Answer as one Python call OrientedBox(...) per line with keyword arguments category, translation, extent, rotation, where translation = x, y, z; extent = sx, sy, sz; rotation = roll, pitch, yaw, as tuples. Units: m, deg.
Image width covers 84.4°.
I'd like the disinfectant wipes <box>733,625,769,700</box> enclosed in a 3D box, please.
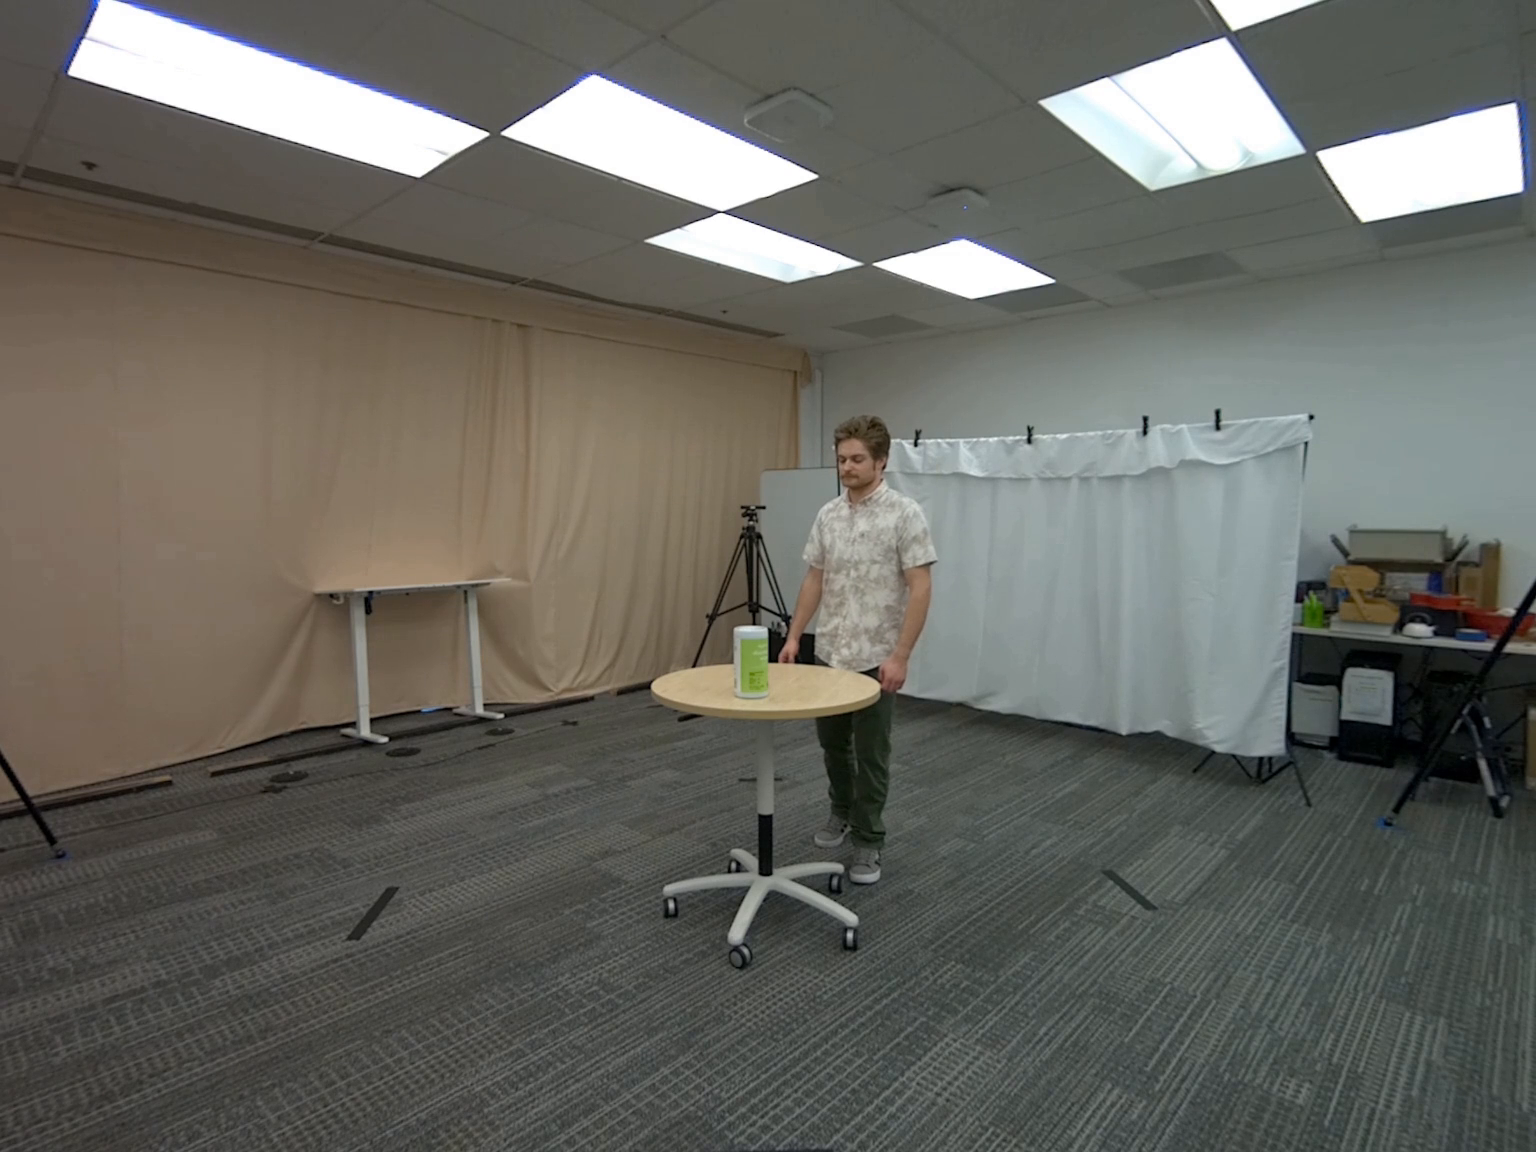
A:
OrientedBox(category="disinfectant wipes", translation=(-0.053, 0.271, 2.653), extent=(0.118, 0.217, 0.118), rotation=(-1, 2, -2))
